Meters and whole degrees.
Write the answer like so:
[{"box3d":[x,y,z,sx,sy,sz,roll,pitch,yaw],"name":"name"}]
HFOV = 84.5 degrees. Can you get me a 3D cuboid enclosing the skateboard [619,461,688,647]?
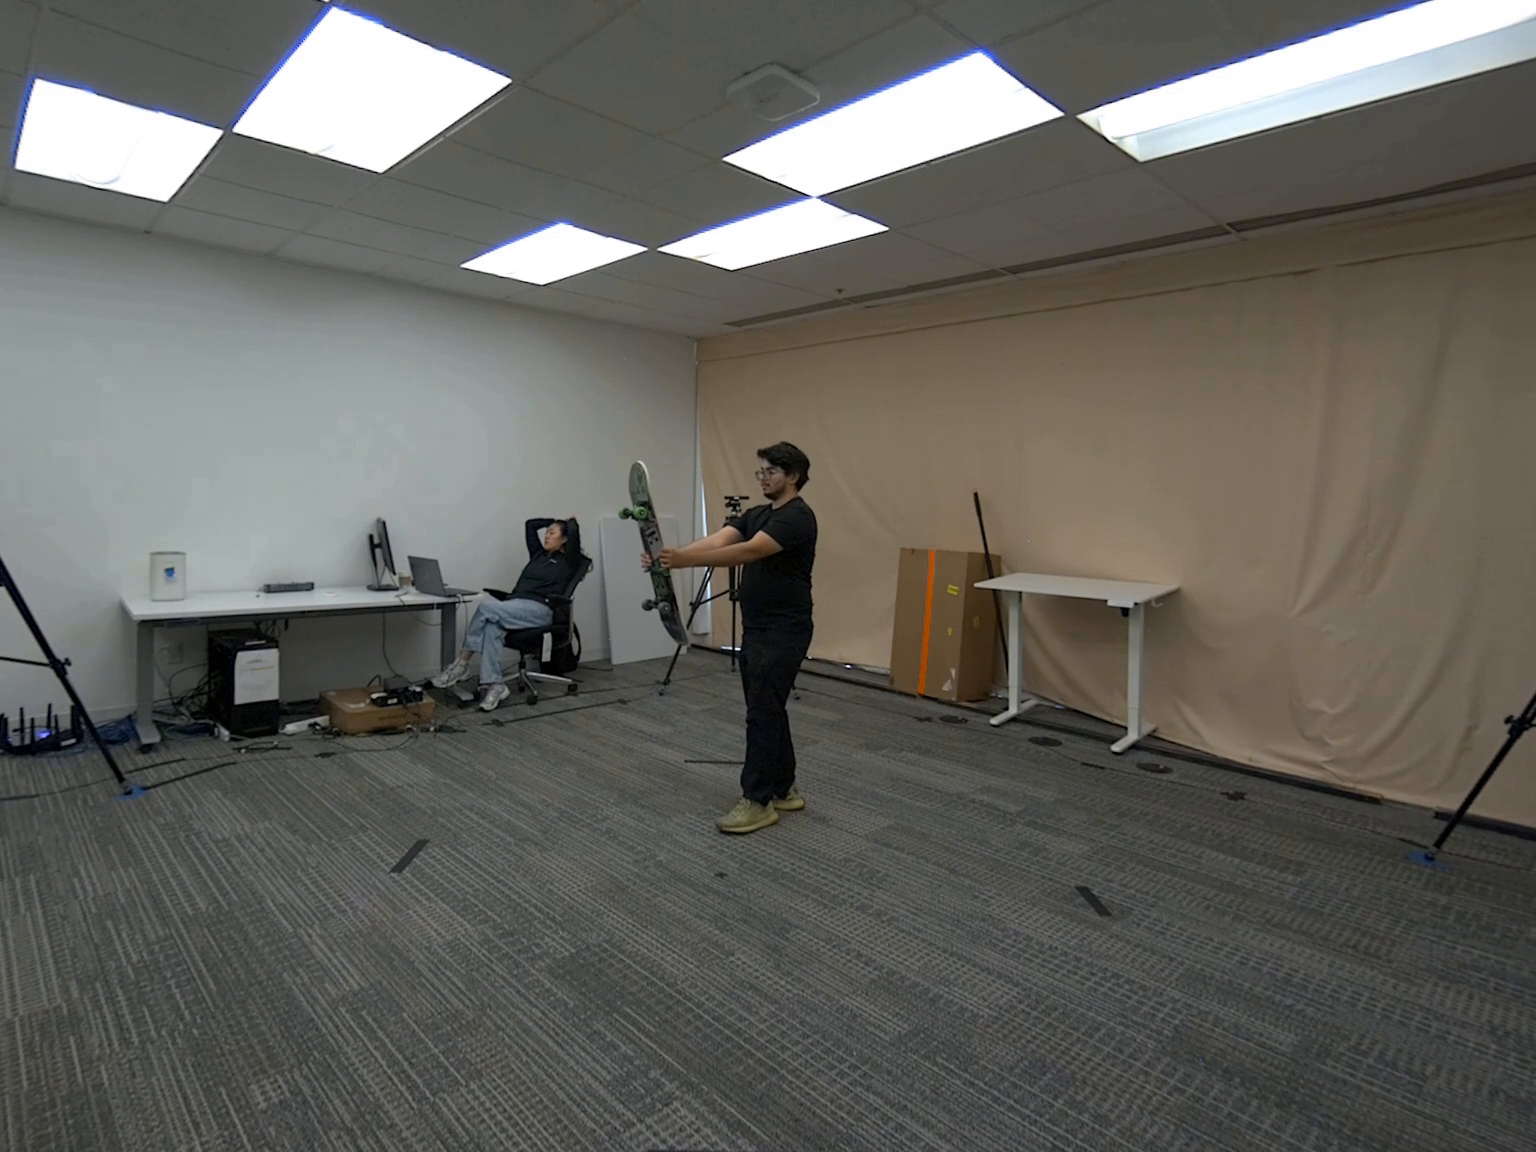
[{"box3d":[-0.486,-0.072,3.450,0.109,0.779,0.198,-18,11,-31],"name":"skateboard"}]
